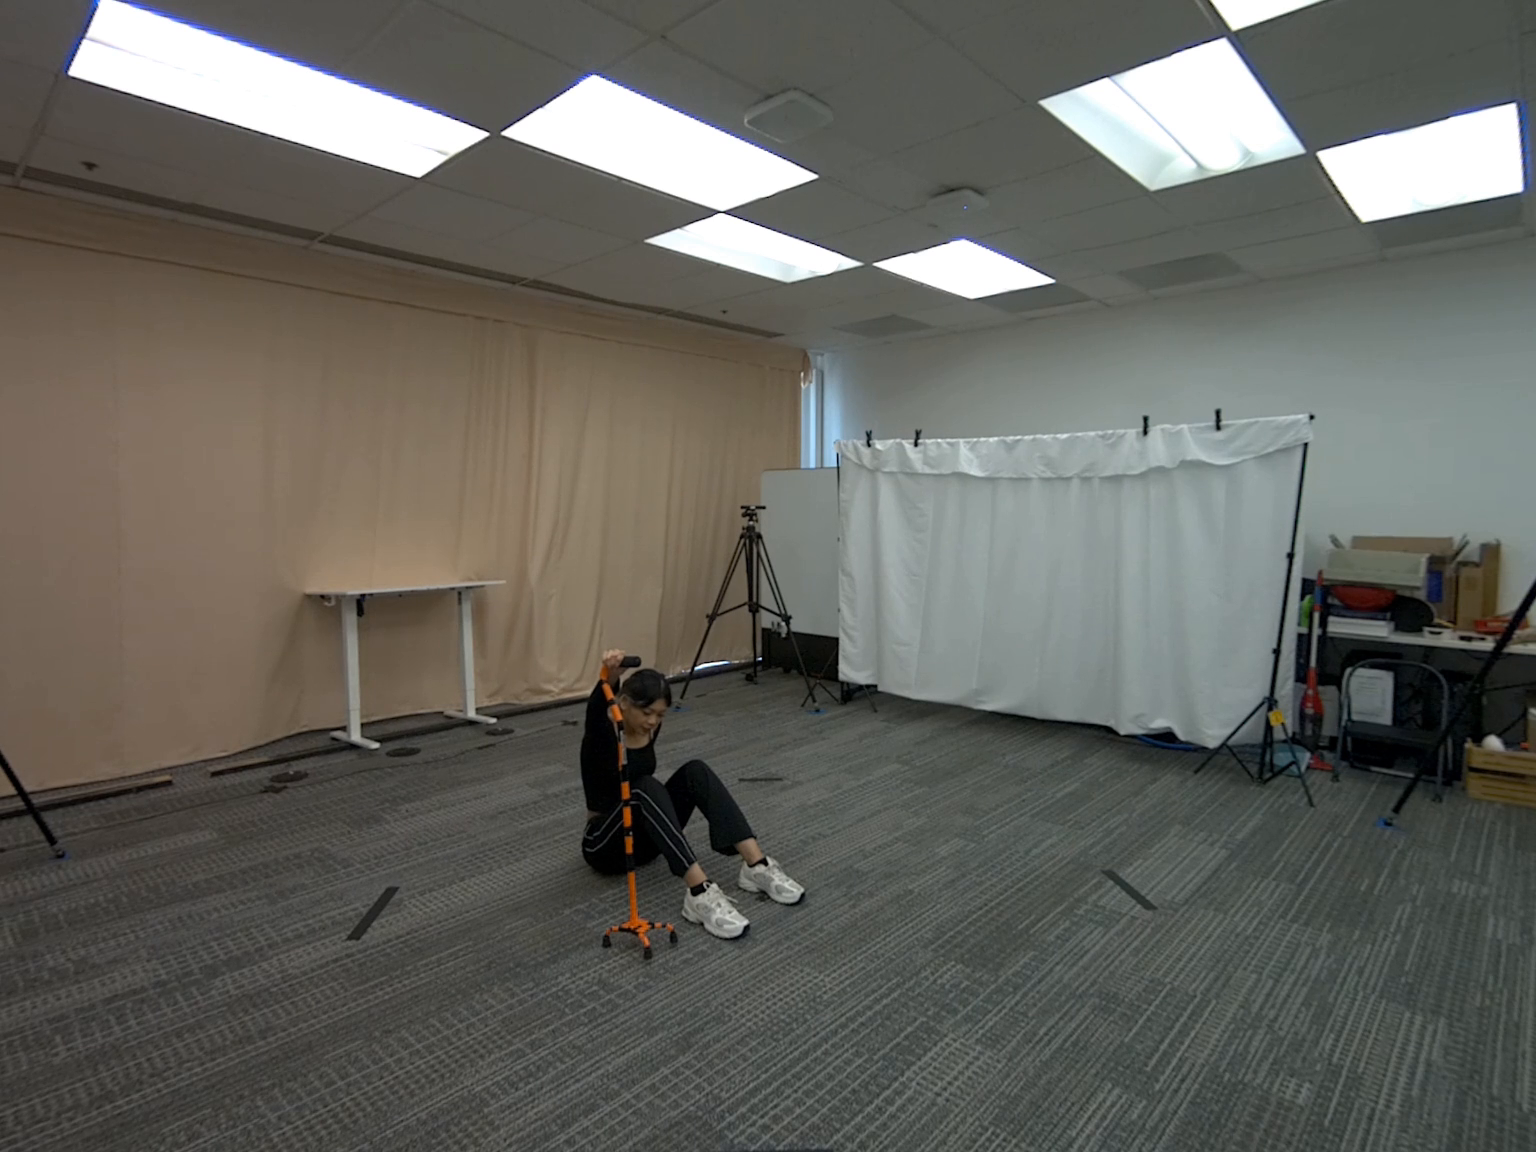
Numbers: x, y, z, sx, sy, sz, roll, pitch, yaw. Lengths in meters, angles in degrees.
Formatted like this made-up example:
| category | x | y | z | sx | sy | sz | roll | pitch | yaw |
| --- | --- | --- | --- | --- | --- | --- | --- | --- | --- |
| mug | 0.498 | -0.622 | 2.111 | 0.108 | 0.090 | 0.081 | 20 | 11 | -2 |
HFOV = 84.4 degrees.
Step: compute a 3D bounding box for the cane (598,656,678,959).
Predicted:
| category | x | y | z | sx | sy | sz | roll | pitch | yaw |
| --- | --- | --- | --- | --- | --- | --- | --- | --- | --- |
| cane | -0.438 | 0.706 | 2.675 | 0.212 | 0.908 | 0.147 | -5 | -1 | 37 |
